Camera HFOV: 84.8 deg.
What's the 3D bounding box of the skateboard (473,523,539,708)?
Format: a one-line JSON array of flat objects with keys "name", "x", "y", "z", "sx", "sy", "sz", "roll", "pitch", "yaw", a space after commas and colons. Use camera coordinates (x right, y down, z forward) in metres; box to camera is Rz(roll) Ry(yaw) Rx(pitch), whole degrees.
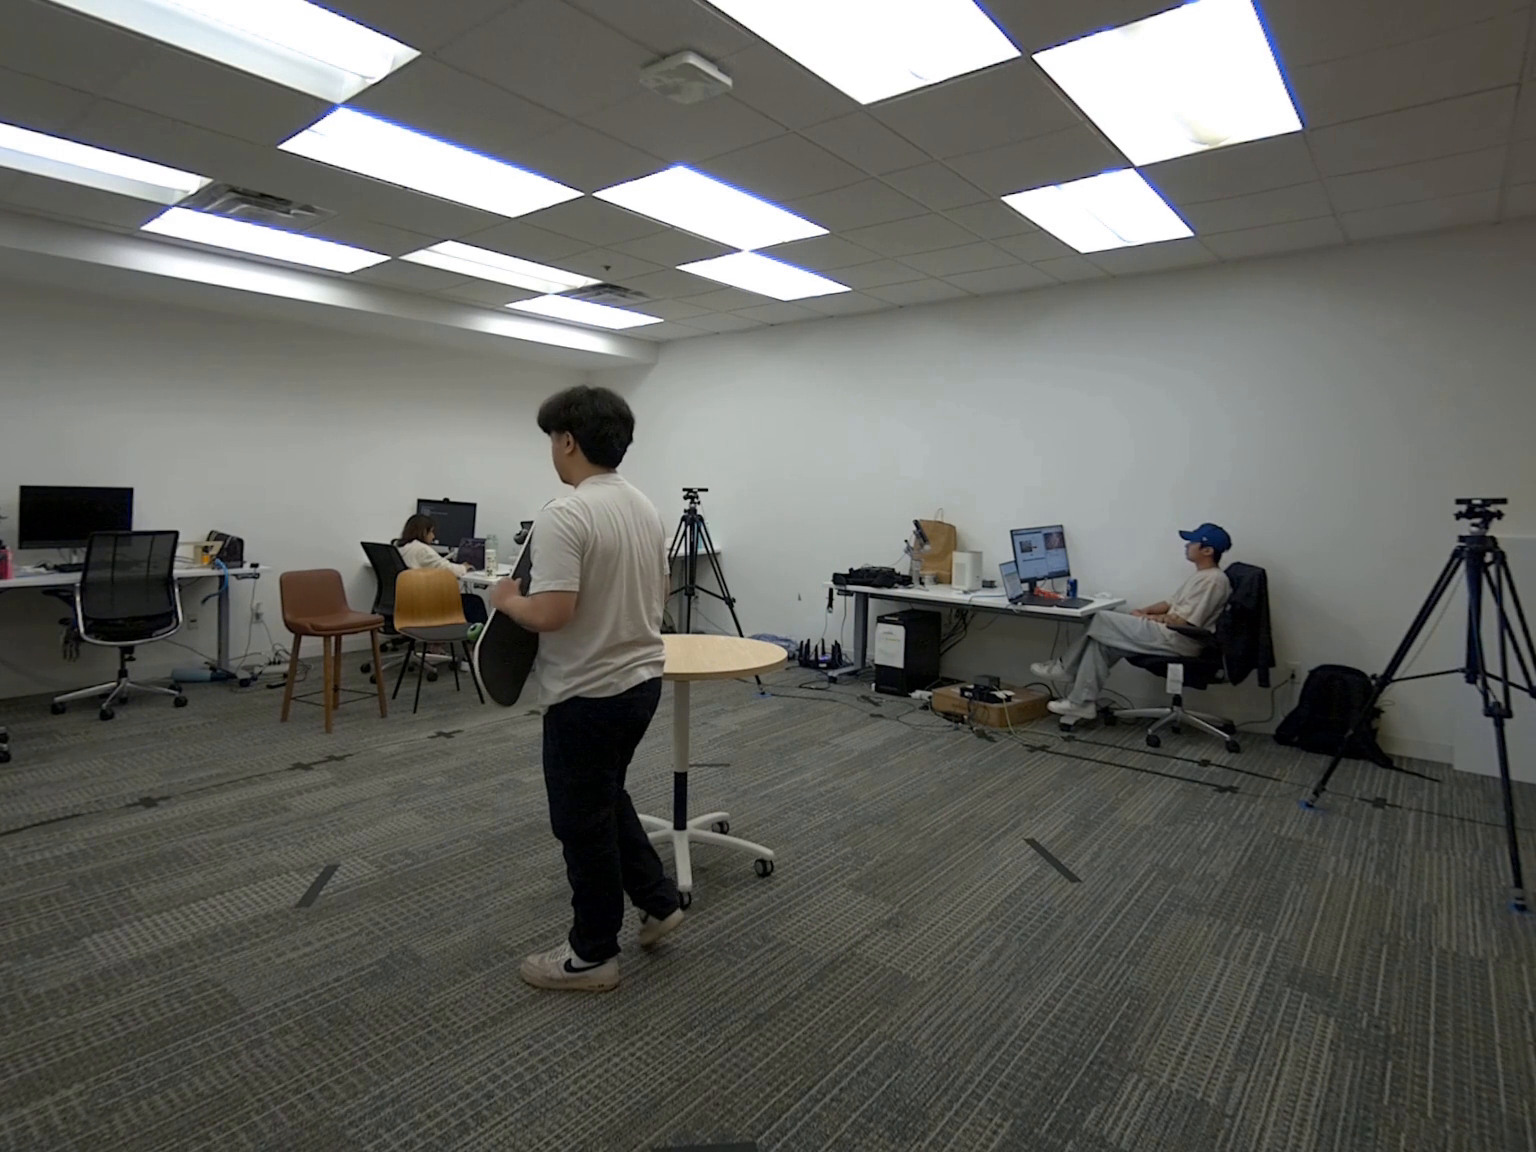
[{"name": "skateboard", "x": -0.721, "y": 0.057, "z": 2.489, "sx": 0.112, "sy": 0.186, "sz": 0.803, "roll": -19, "pitch": 37, "yaw": 23}]
